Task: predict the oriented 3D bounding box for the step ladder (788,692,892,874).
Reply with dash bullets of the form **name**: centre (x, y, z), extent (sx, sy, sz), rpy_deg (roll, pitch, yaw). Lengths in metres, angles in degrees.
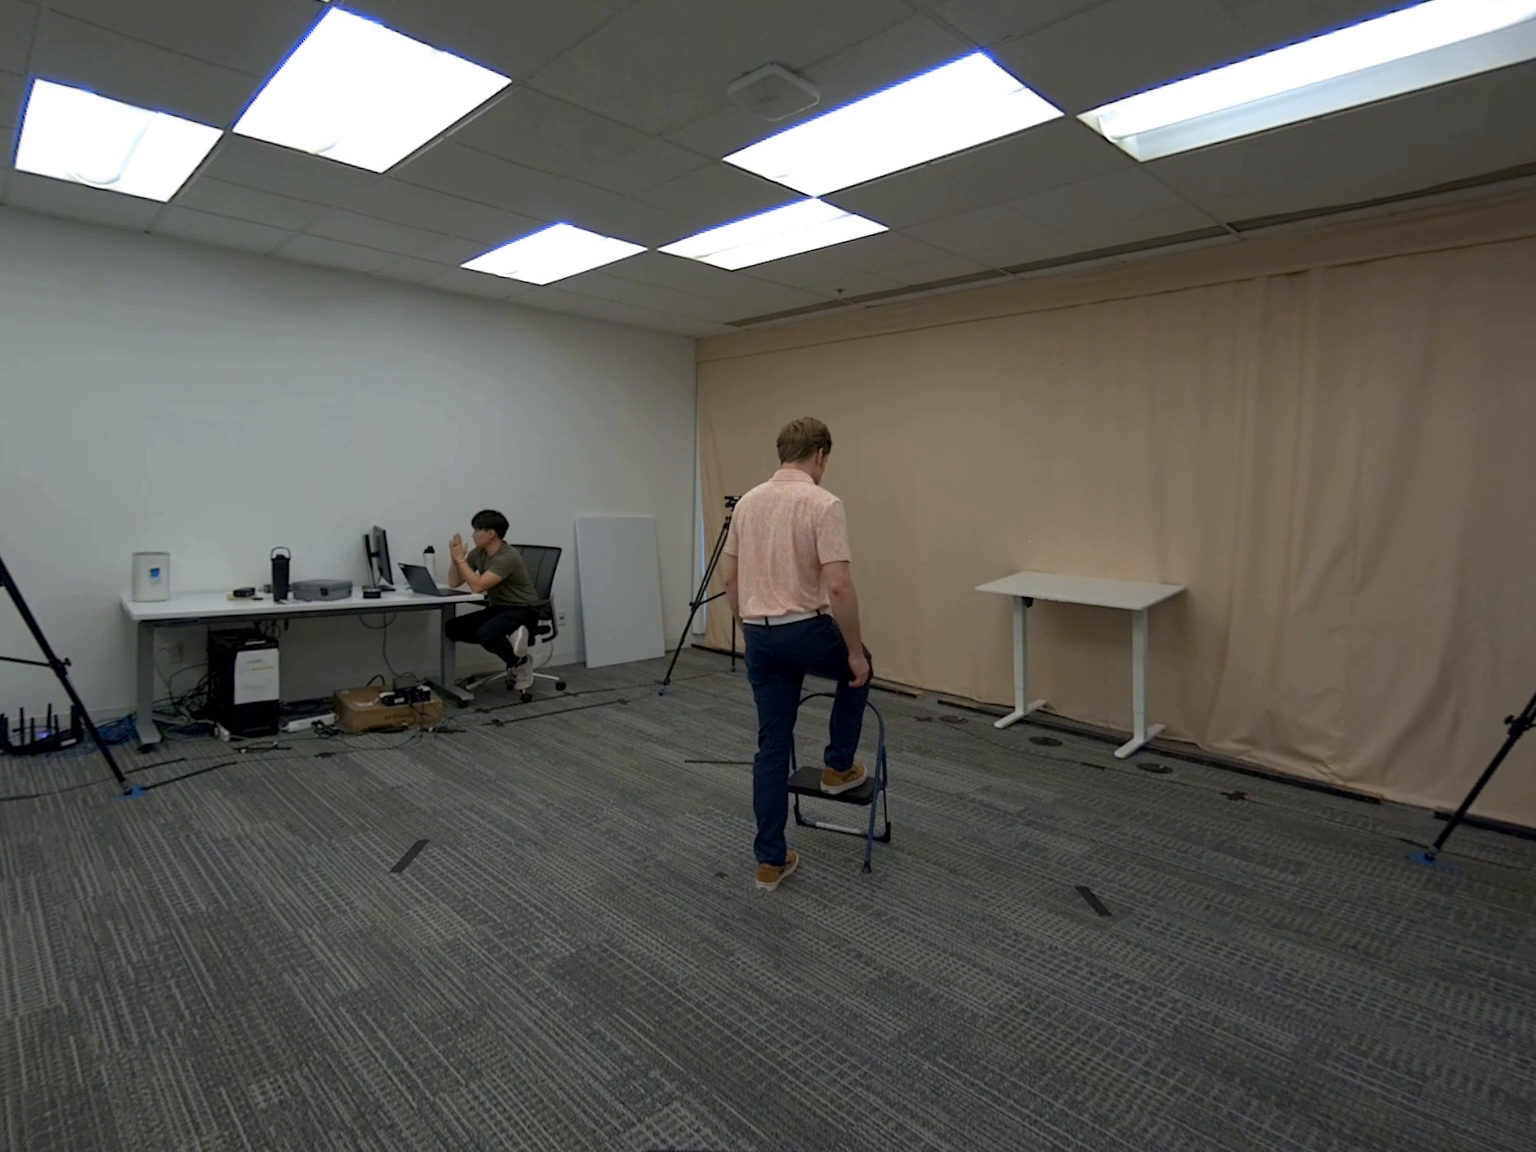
- **step ladder**: centre (0.252, 0.786, 3.383), extent (0.439, 0.605, 0.343), rpy_deg (3, 3, 24)
